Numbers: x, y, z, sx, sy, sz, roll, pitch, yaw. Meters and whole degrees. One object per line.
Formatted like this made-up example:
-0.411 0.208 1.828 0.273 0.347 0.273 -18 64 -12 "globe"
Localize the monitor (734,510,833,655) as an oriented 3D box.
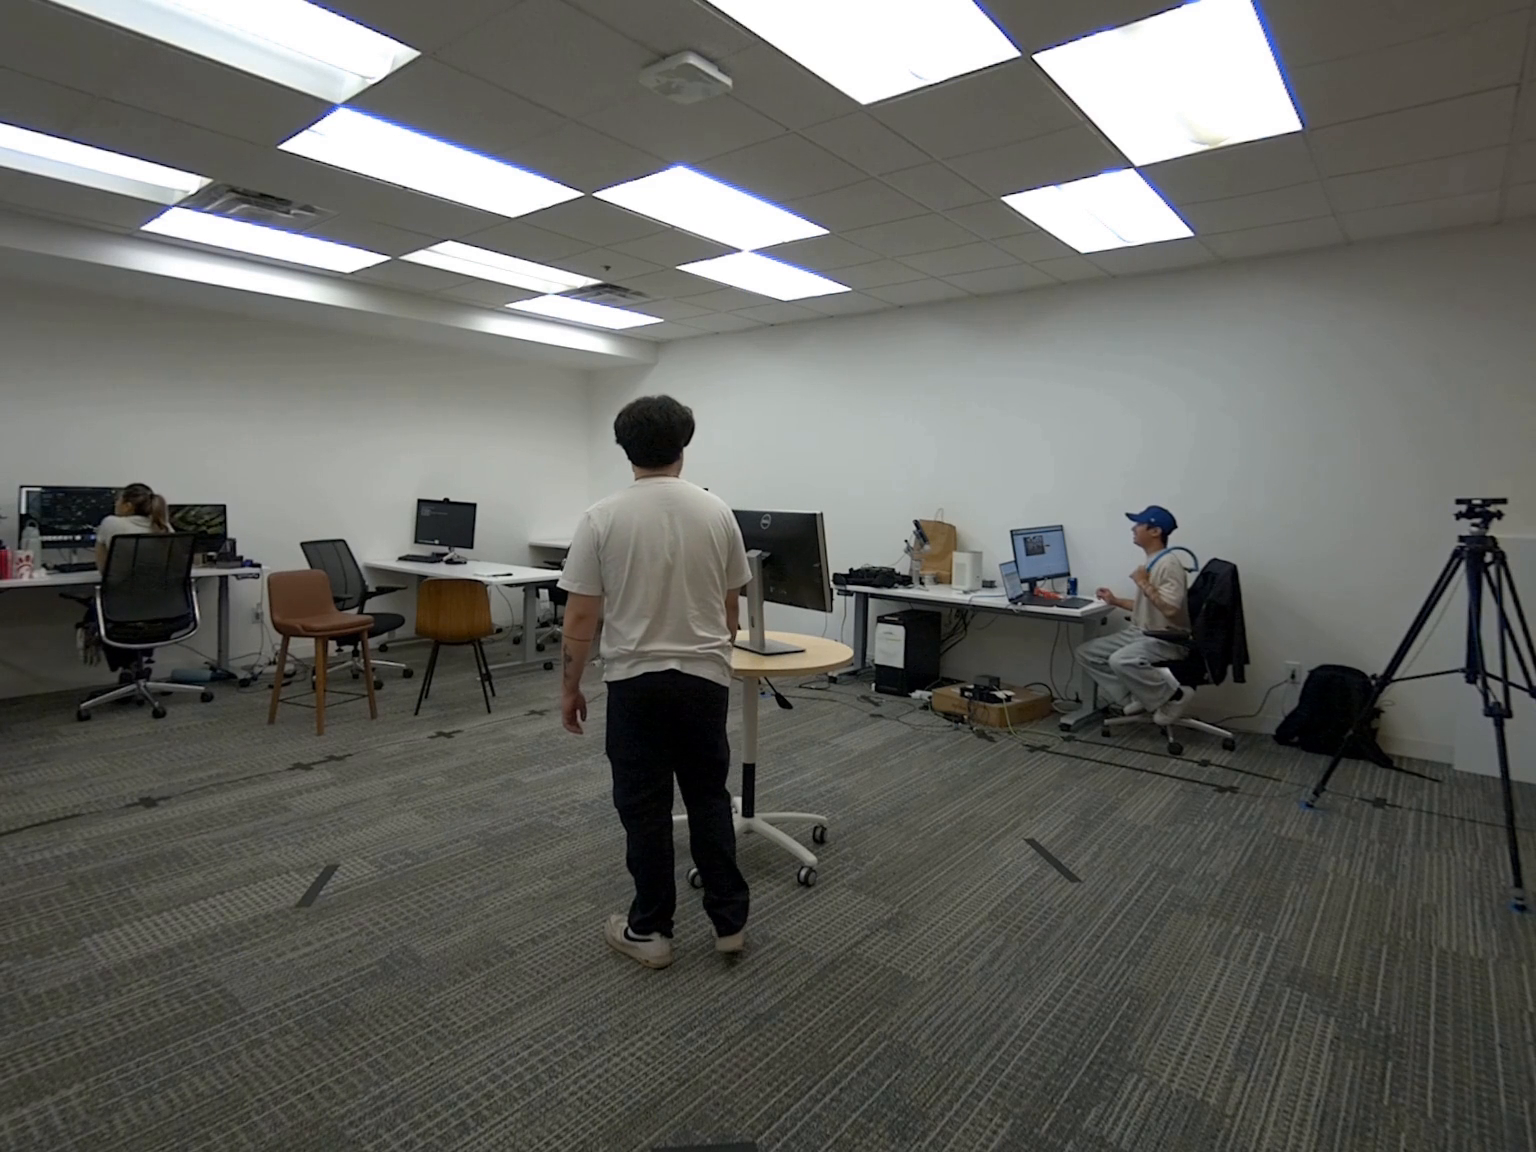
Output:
-0.027 0.018 3.195 0.204 0.551 0.584 -6 8 -36 "monitor"
